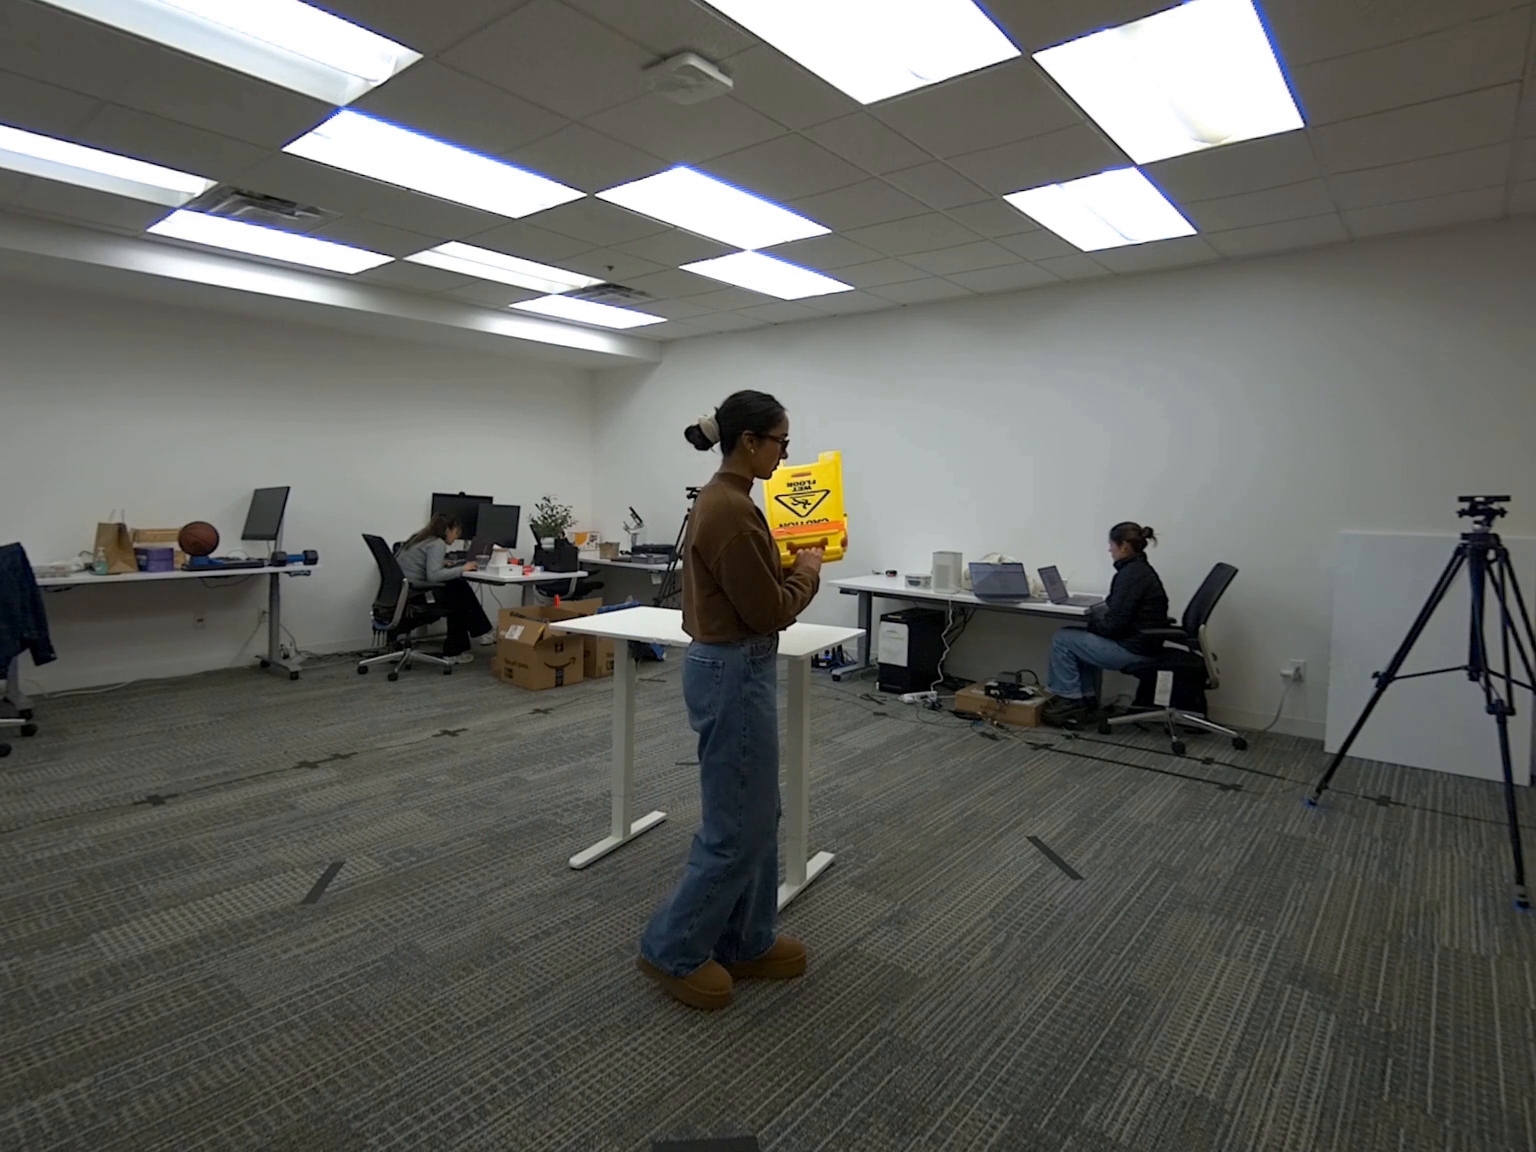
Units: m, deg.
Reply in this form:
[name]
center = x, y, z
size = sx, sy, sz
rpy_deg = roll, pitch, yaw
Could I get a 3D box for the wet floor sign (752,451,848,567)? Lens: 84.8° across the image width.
[wet floor sign]
center = 0.126, -0.171, 2.707
size = 0.283, 0.283, 0.657
rpy_deg = -8, 21, 3
